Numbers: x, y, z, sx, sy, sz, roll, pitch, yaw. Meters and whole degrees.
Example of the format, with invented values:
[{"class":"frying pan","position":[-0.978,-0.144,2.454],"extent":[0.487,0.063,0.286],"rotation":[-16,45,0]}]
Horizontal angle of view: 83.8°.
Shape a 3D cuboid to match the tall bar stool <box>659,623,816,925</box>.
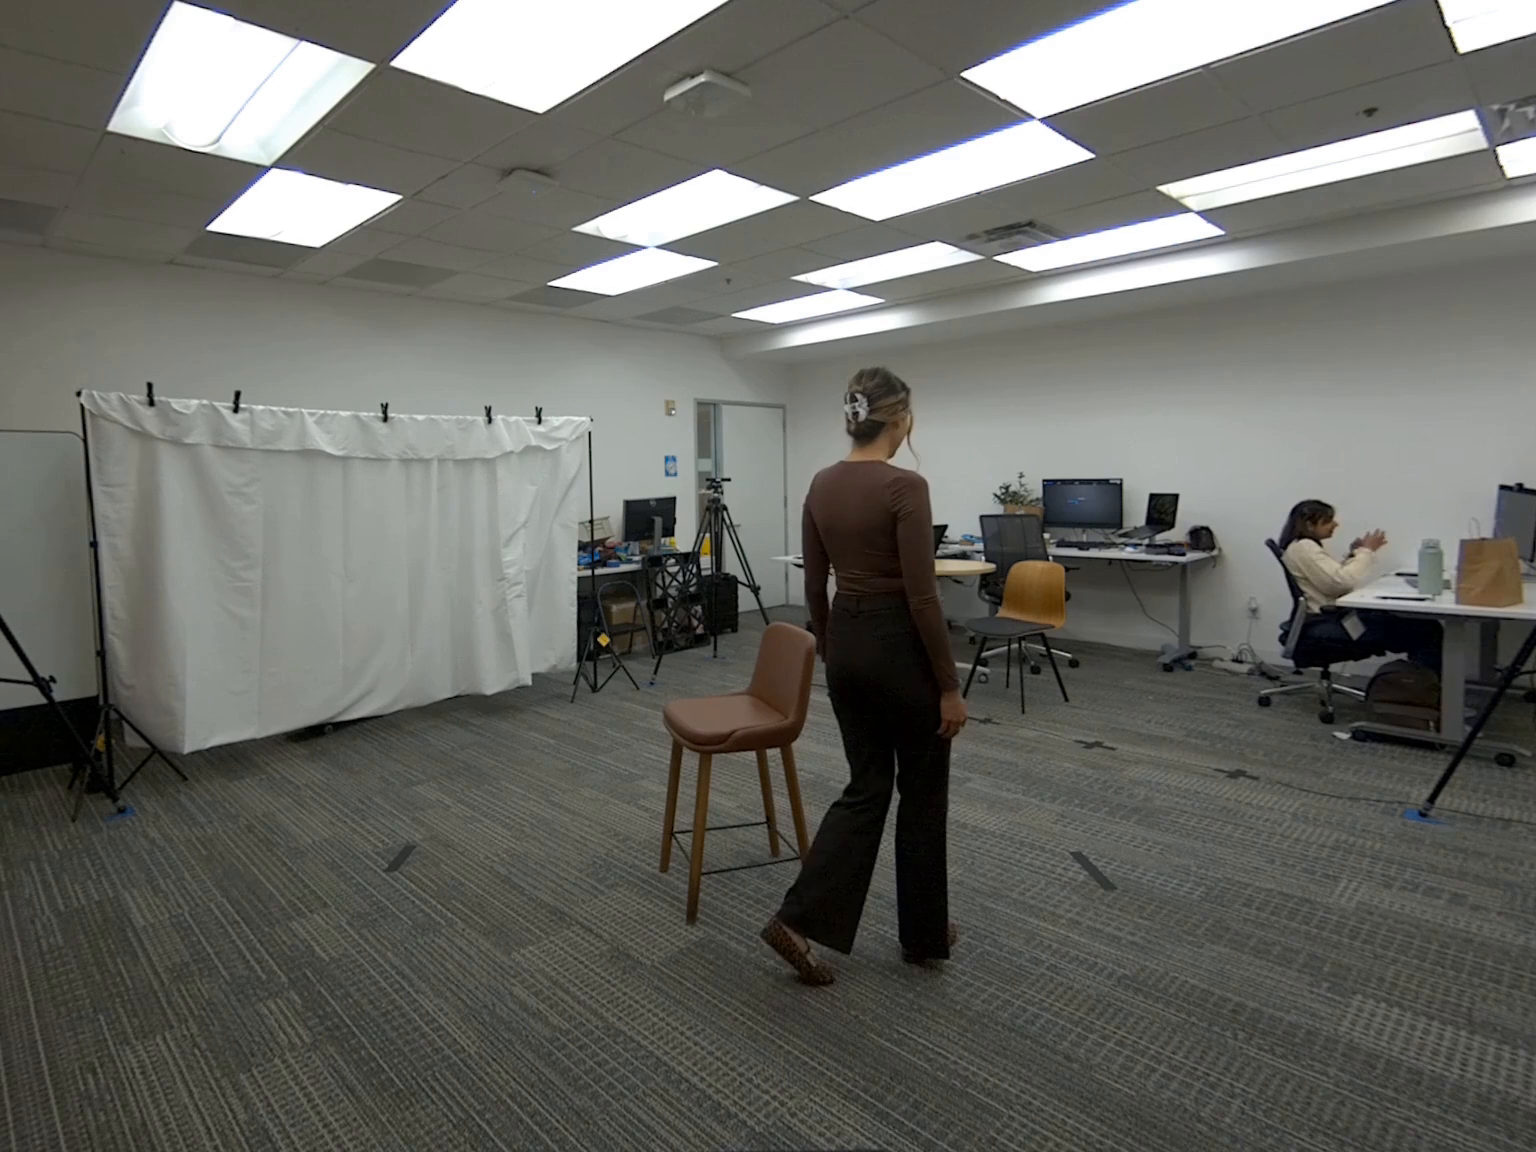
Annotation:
[{"class":"tall bar stool","position":[-0.108,0.632,2.909],"extent":[0.459,0.887,0.466],"rotation":[-1,4,-19]}]
